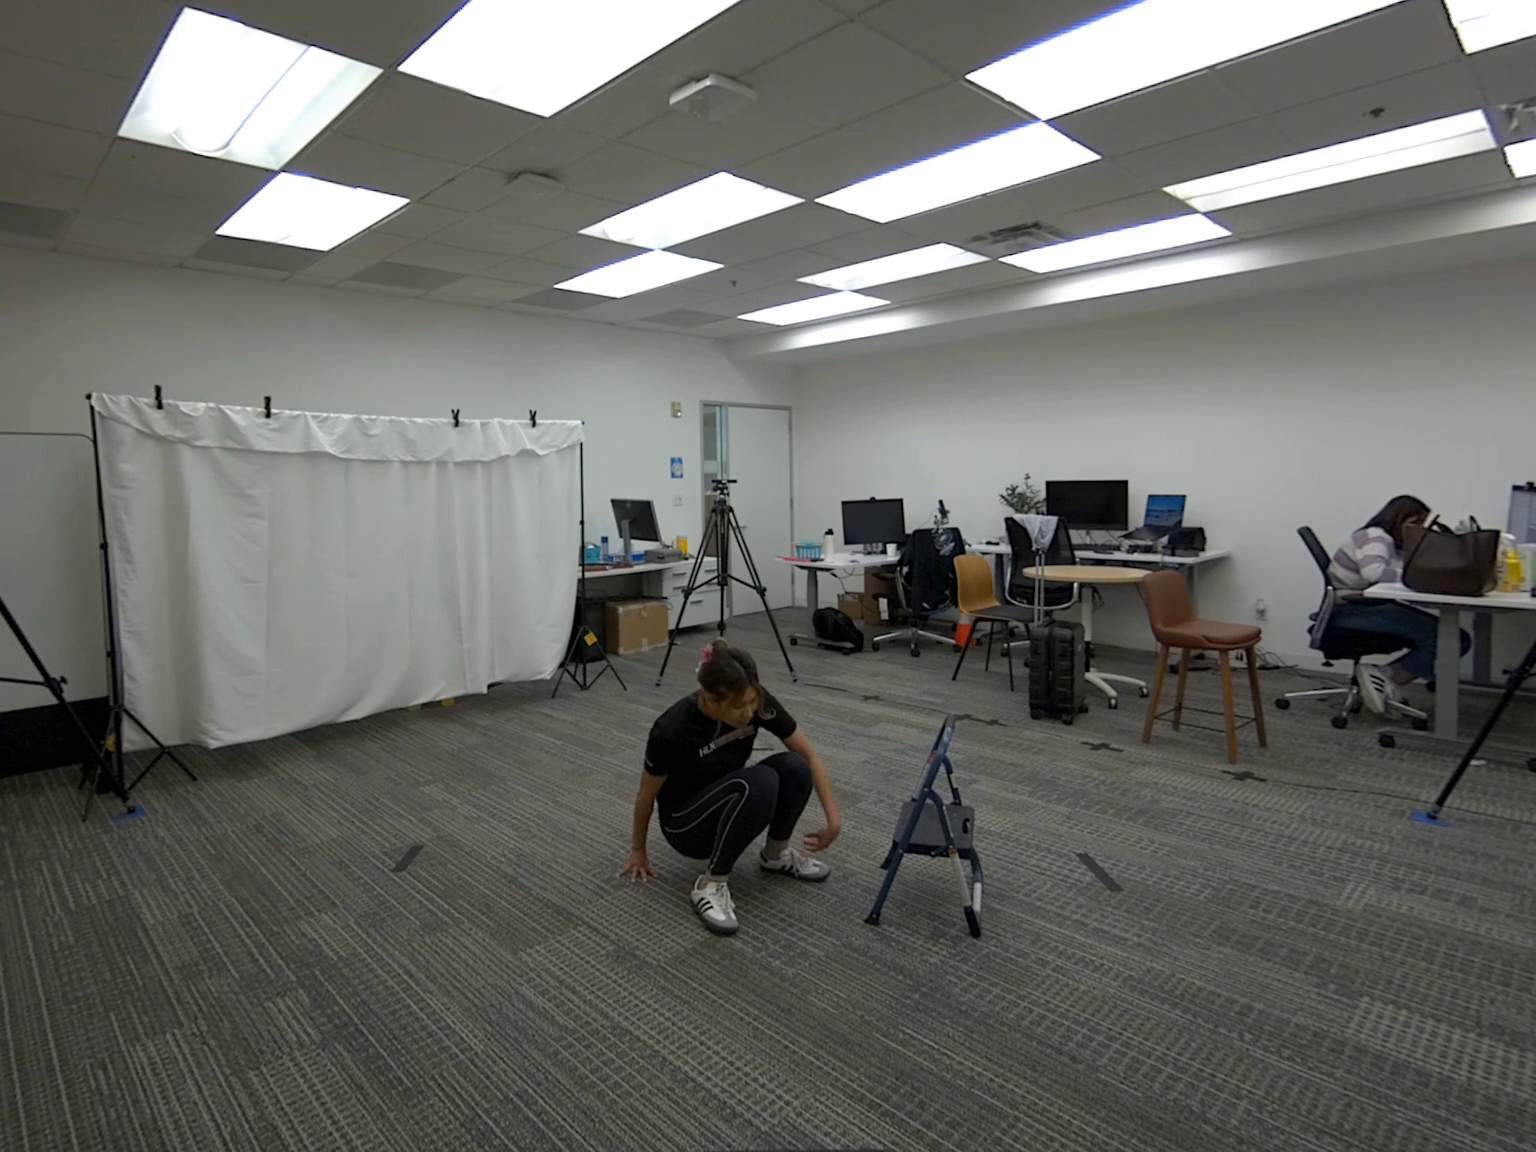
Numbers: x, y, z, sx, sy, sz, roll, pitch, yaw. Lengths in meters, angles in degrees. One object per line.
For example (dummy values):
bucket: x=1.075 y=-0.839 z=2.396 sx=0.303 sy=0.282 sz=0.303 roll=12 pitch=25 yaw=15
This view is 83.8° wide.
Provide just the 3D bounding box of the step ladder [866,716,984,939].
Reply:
step ladder: x=0.520 y=0.762 z=2.801 sx=0.355 sy=0.604 sz=0.425 roll=0 pitch=5 yaw=16
